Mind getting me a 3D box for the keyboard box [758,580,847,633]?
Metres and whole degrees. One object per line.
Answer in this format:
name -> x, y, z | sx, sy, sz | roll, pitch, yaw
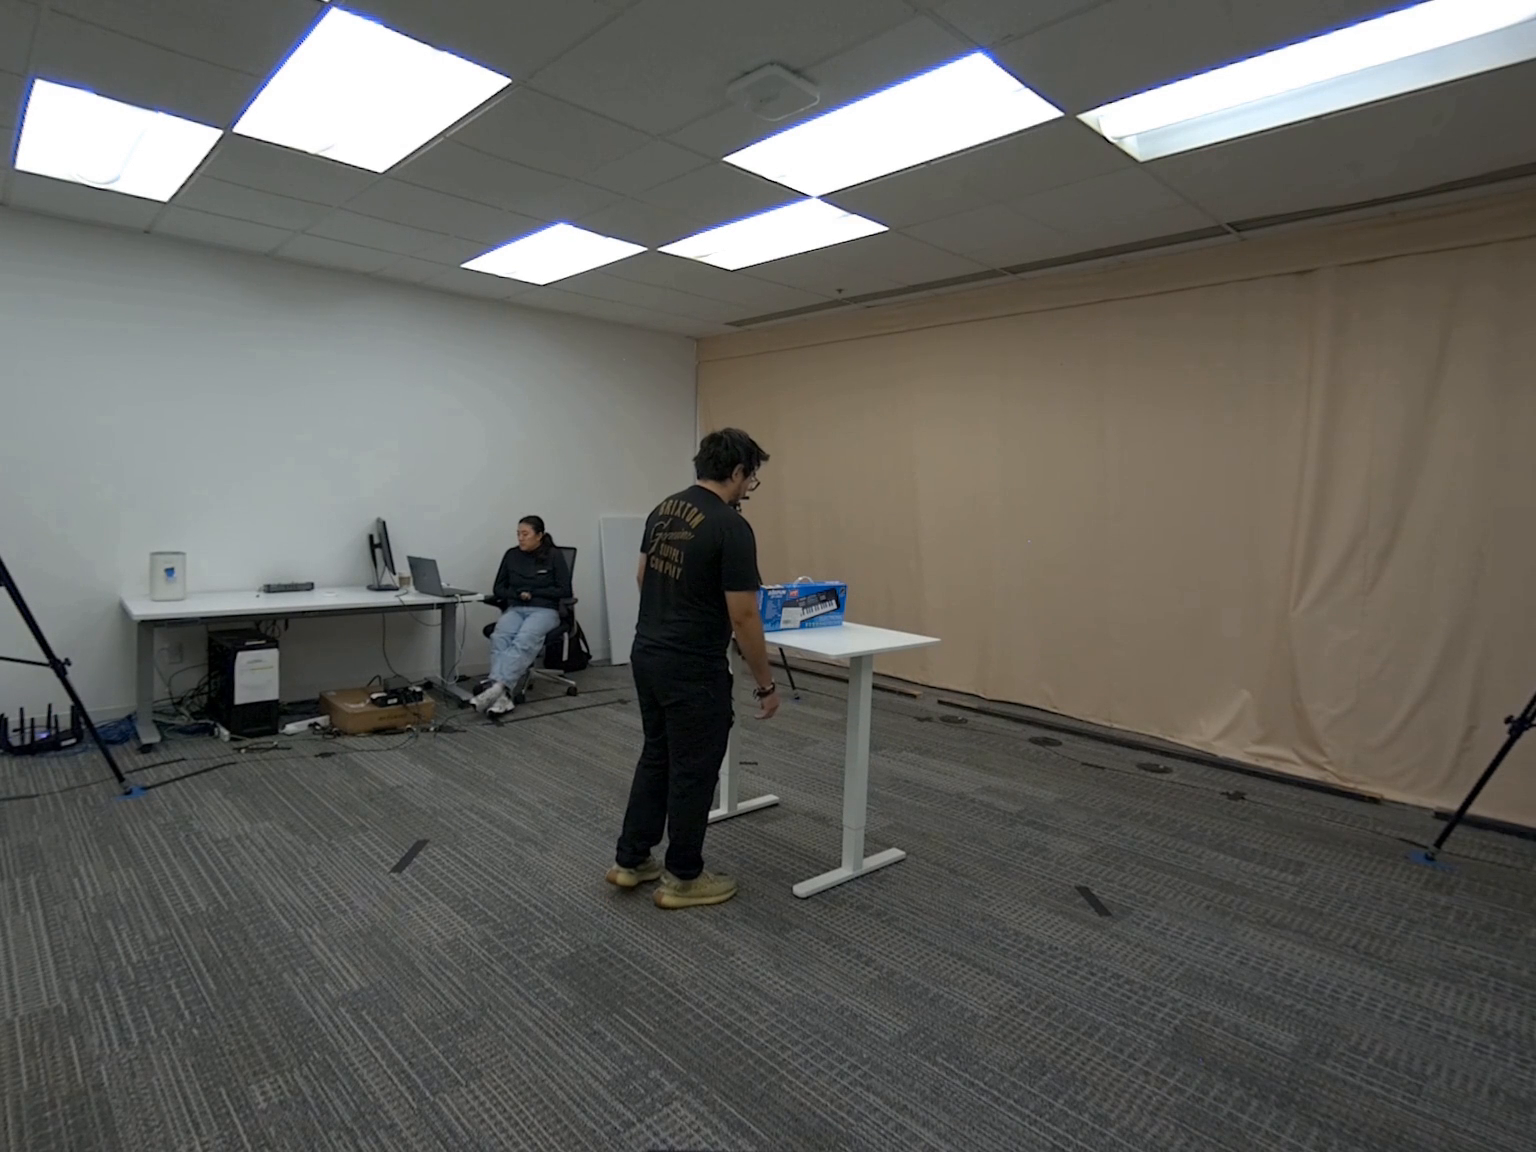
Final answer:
keyboard box -> 0.126, 0.121, 3.326 | 0.427, 0.175, 0.061 | -2, 12, -40
